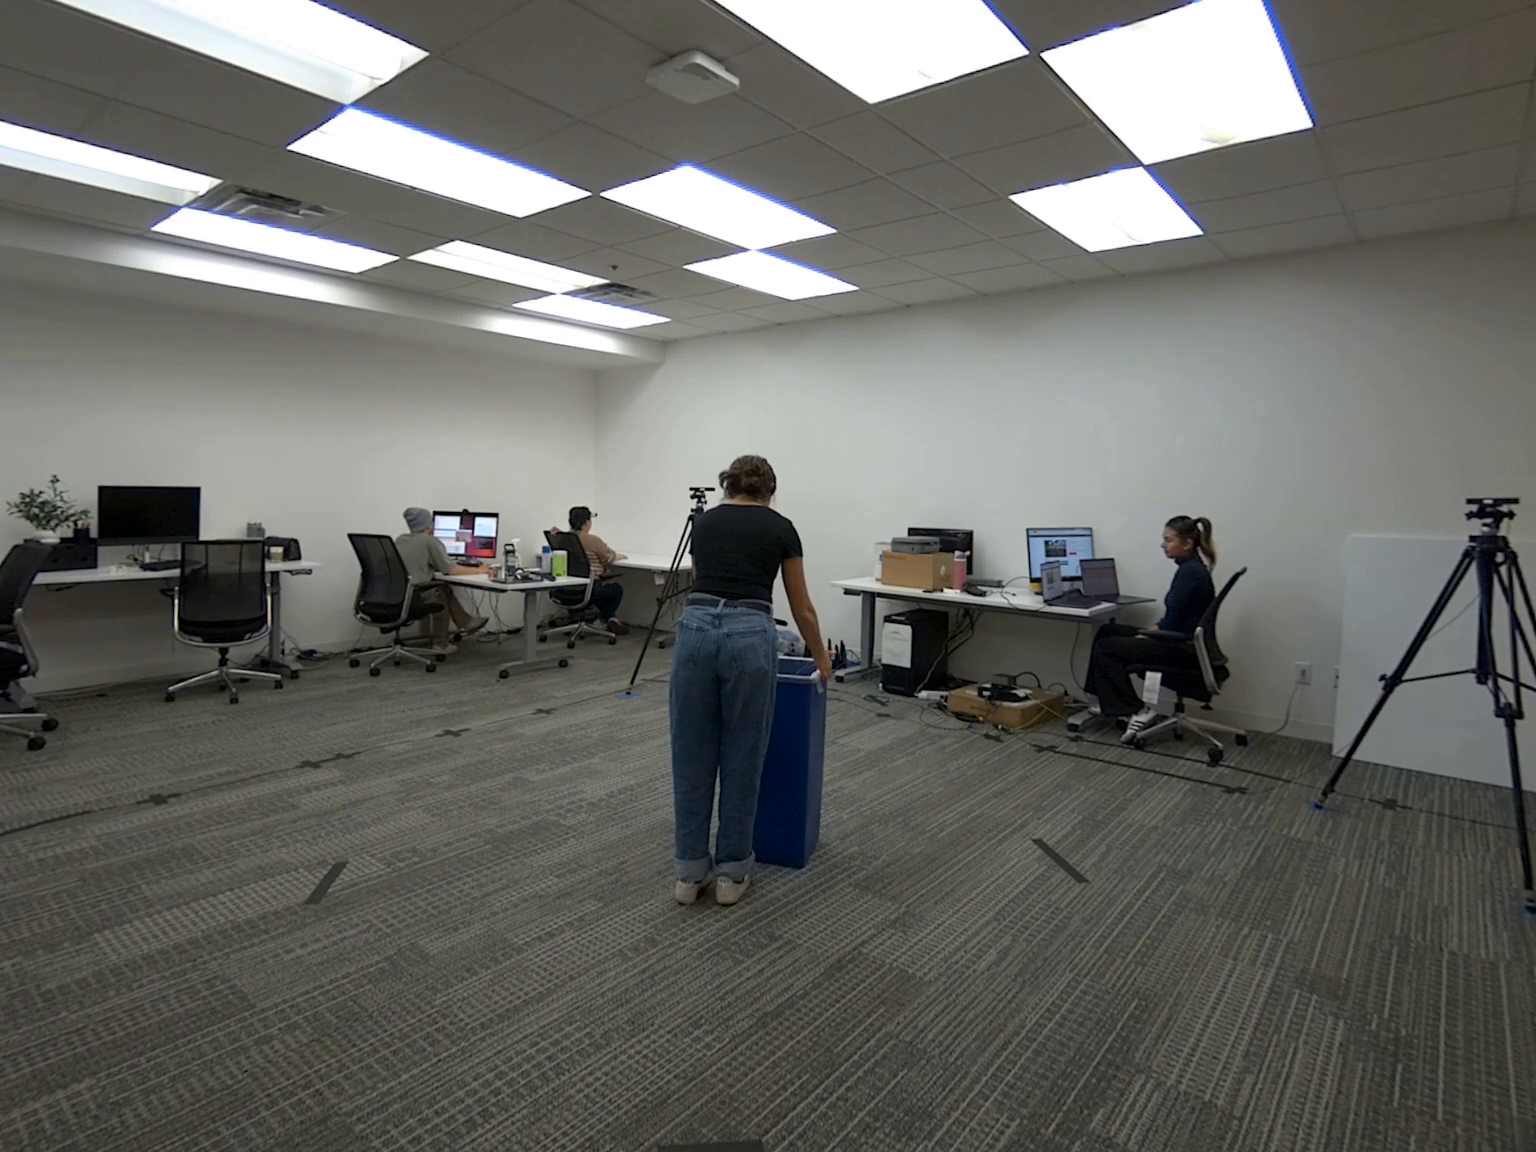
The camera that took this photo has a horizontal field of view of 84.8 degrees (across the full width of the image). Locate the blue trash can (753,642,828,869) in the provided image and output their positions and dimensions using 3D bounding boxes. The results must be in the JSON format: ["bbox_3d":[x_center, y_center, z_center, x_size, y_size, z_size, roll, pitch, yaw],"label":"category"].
[{"bbox_3d":[0.017,0.693,3.288,0.381,0.712,0.372,3,3,16],"label":"blue trash can"}]
